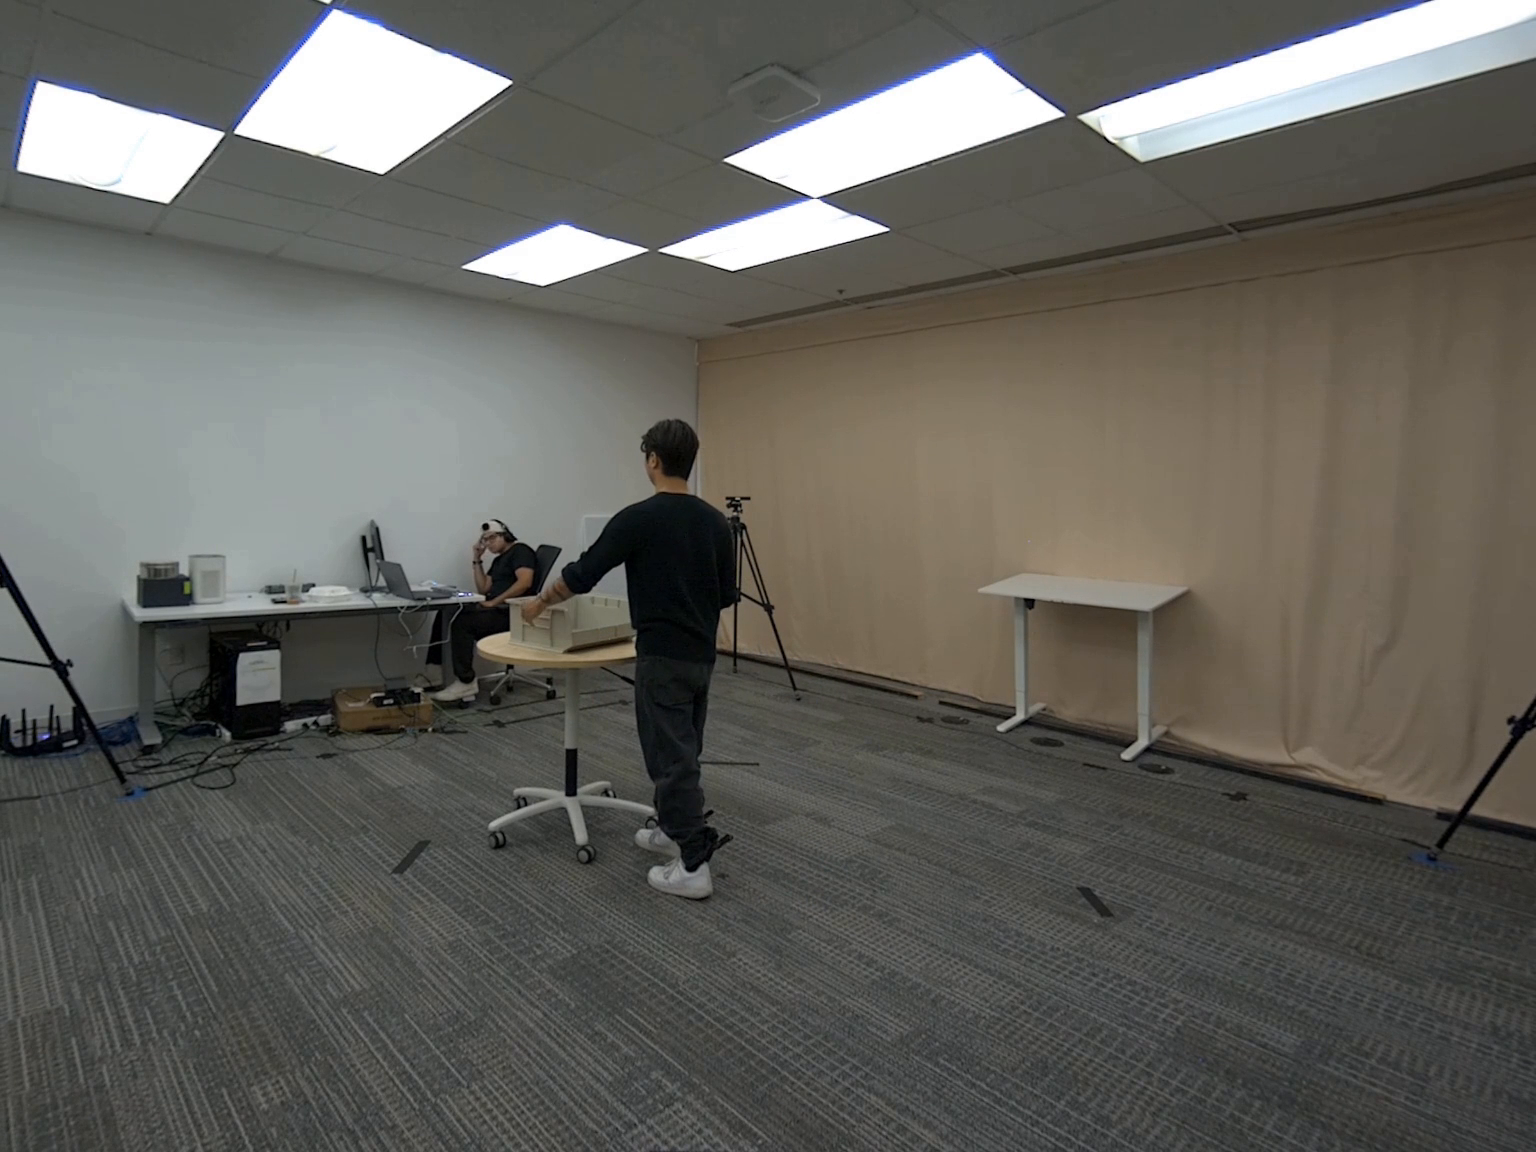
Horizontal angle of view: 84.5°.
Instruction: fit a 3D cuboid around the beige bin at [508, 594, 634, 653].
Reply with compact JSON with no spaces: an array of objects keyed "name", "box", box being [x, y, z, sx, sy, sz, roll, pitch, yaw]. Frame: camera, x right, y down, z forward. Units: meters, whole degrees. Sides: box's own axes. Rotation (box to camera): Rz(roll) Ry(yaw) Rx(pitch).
[{"name":"beige bin","box":[-0.803,0.191,3.476,0.386,0.188,0.414,4,6,34]}]
